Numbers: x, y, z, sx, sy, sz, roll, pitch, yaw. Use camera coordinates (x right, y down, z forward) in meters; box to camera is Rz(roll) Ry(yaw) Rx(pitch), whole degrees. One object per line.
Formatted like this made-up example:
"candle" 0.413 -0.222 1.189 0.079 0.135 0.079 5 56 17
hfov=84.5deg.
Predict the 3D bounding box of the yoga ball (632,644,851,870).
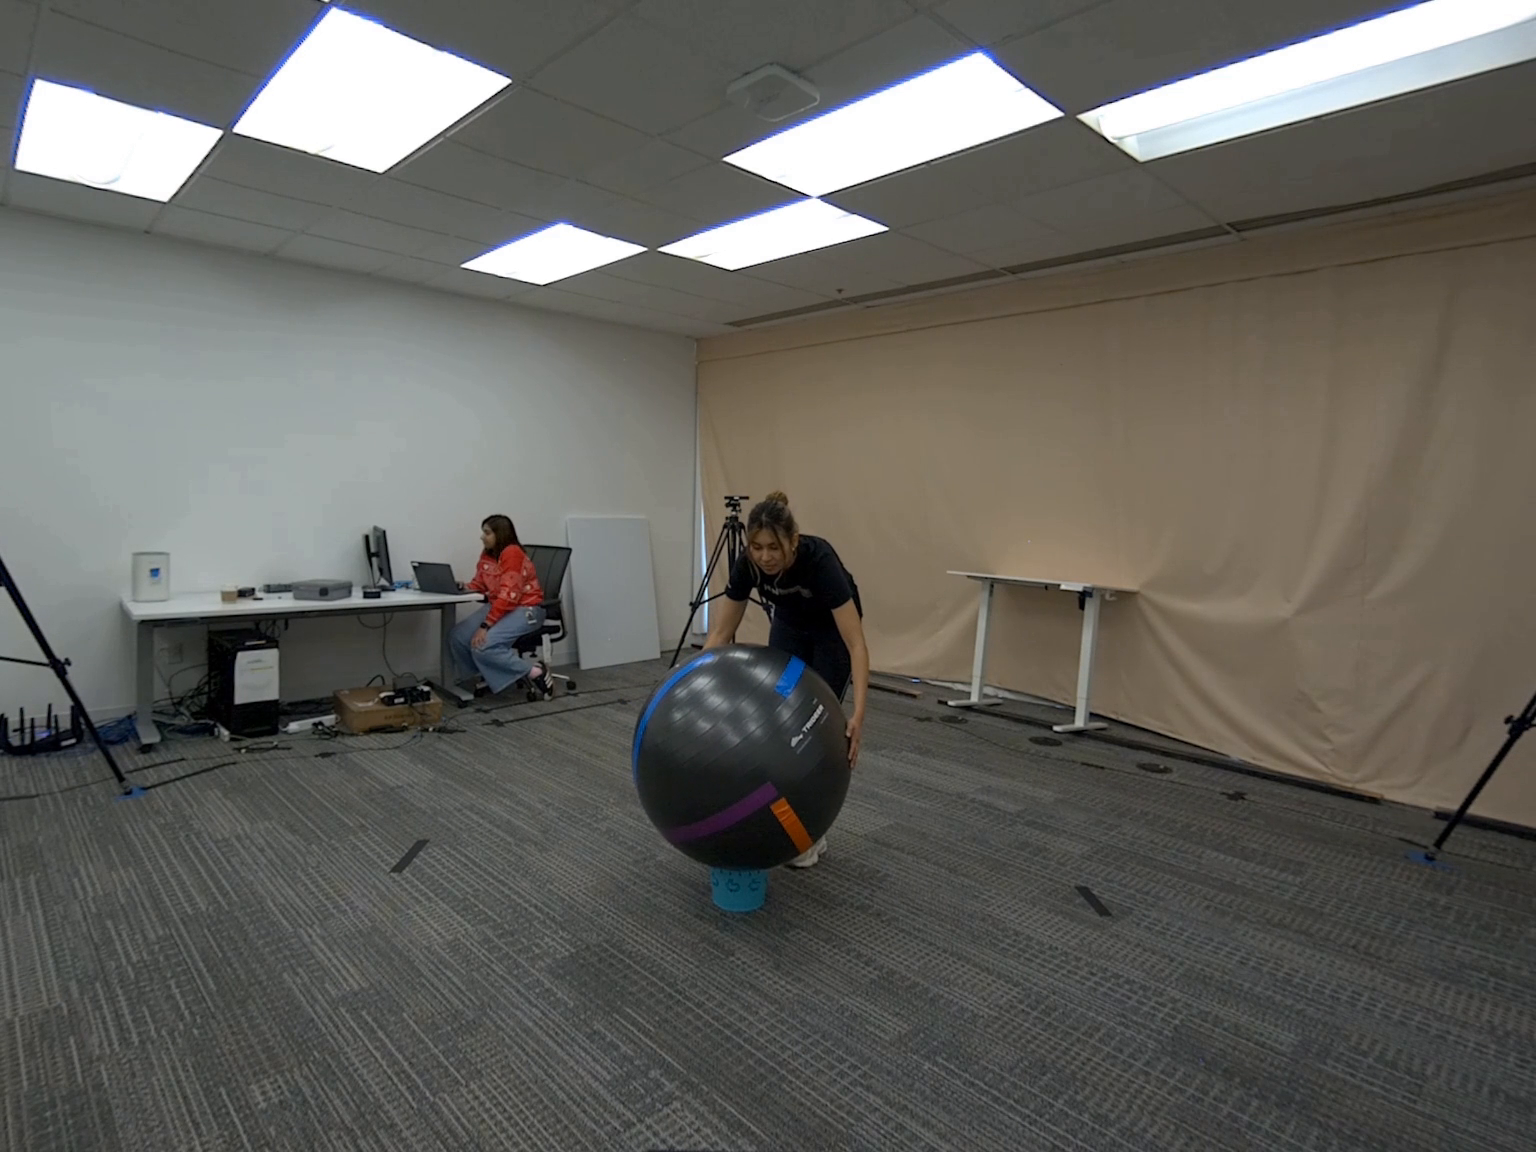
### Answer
"yoga ball" -0.089 0.615 2.883 0.757 0.756 0.761 1 4 -1
